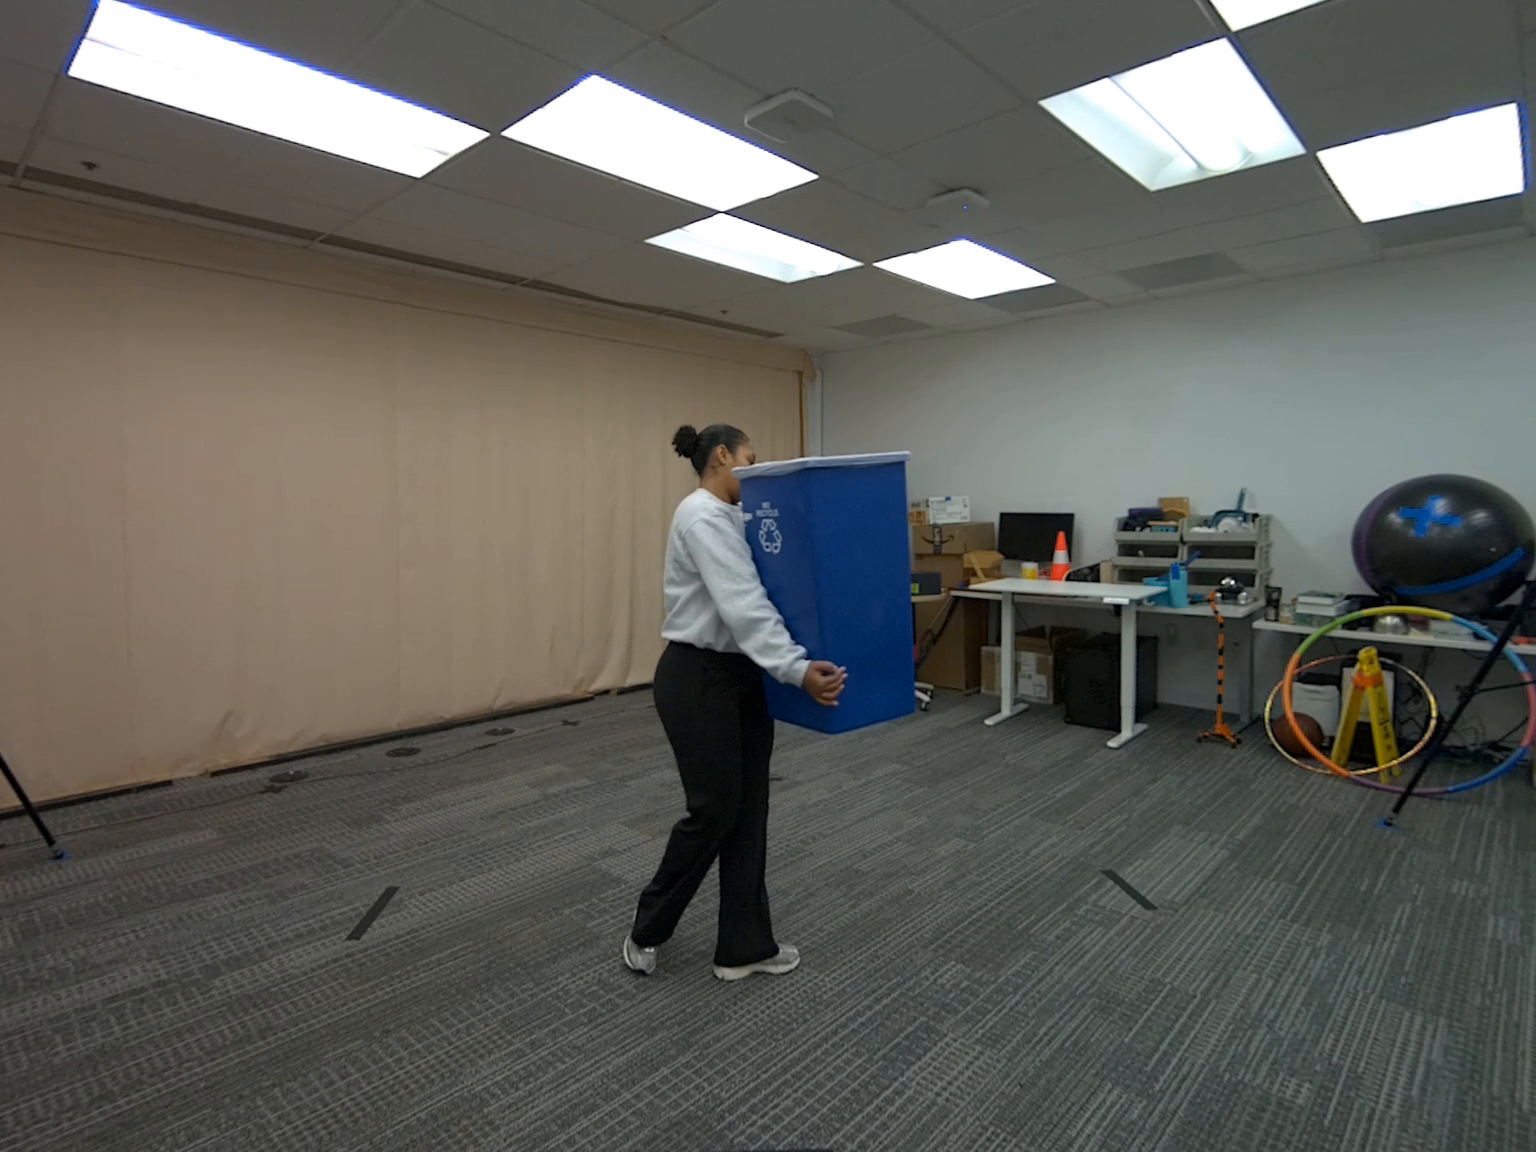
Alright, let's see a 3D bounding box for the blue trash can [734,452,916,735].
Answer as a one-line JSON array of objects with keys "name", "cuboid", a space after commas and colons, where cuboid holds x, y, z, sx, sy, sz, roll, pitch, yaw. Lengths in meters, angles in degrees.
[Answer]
[{"name": "blue trash can", "cuboid": [0.176, 0.033, 2.328, 0.365, 0.712, 0.388, -7, 3, -29]}]
